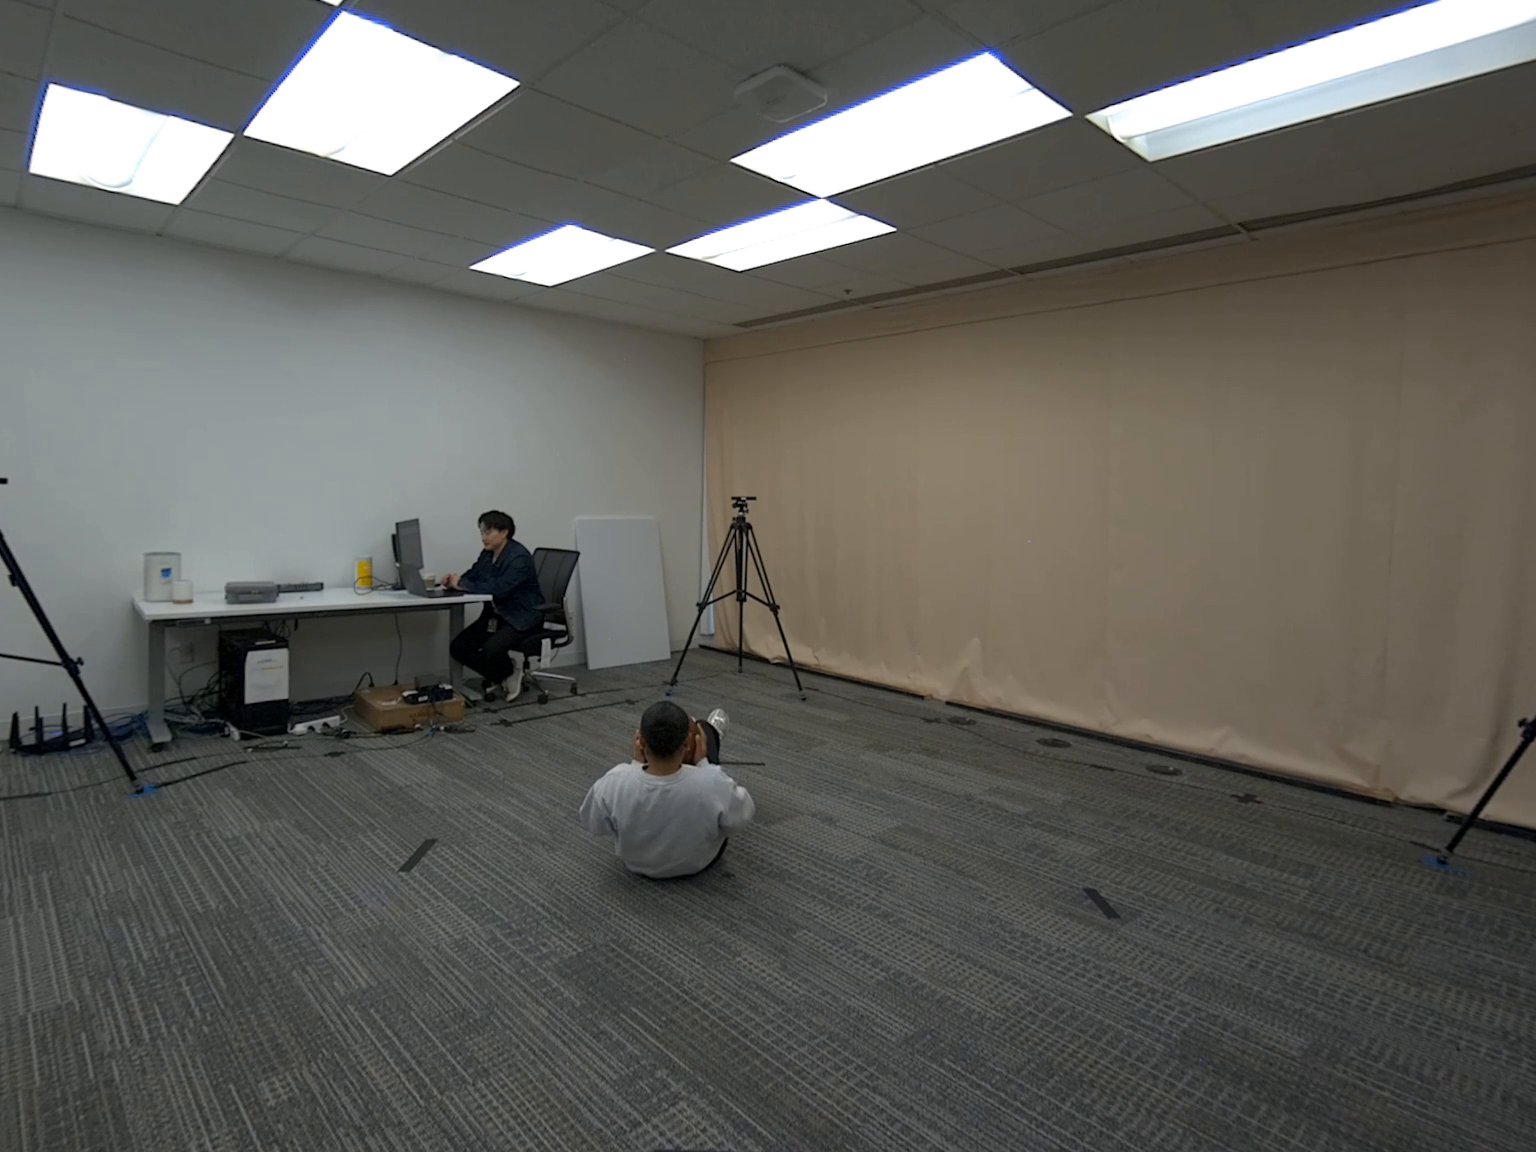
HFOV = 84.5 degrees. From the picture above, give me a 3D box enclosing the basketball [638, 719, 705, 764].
[{"bbox_3d":[-0.400,0.640,3.246,0.236,0.235,0.237,1,4,-1],"label":"basketball"}]
